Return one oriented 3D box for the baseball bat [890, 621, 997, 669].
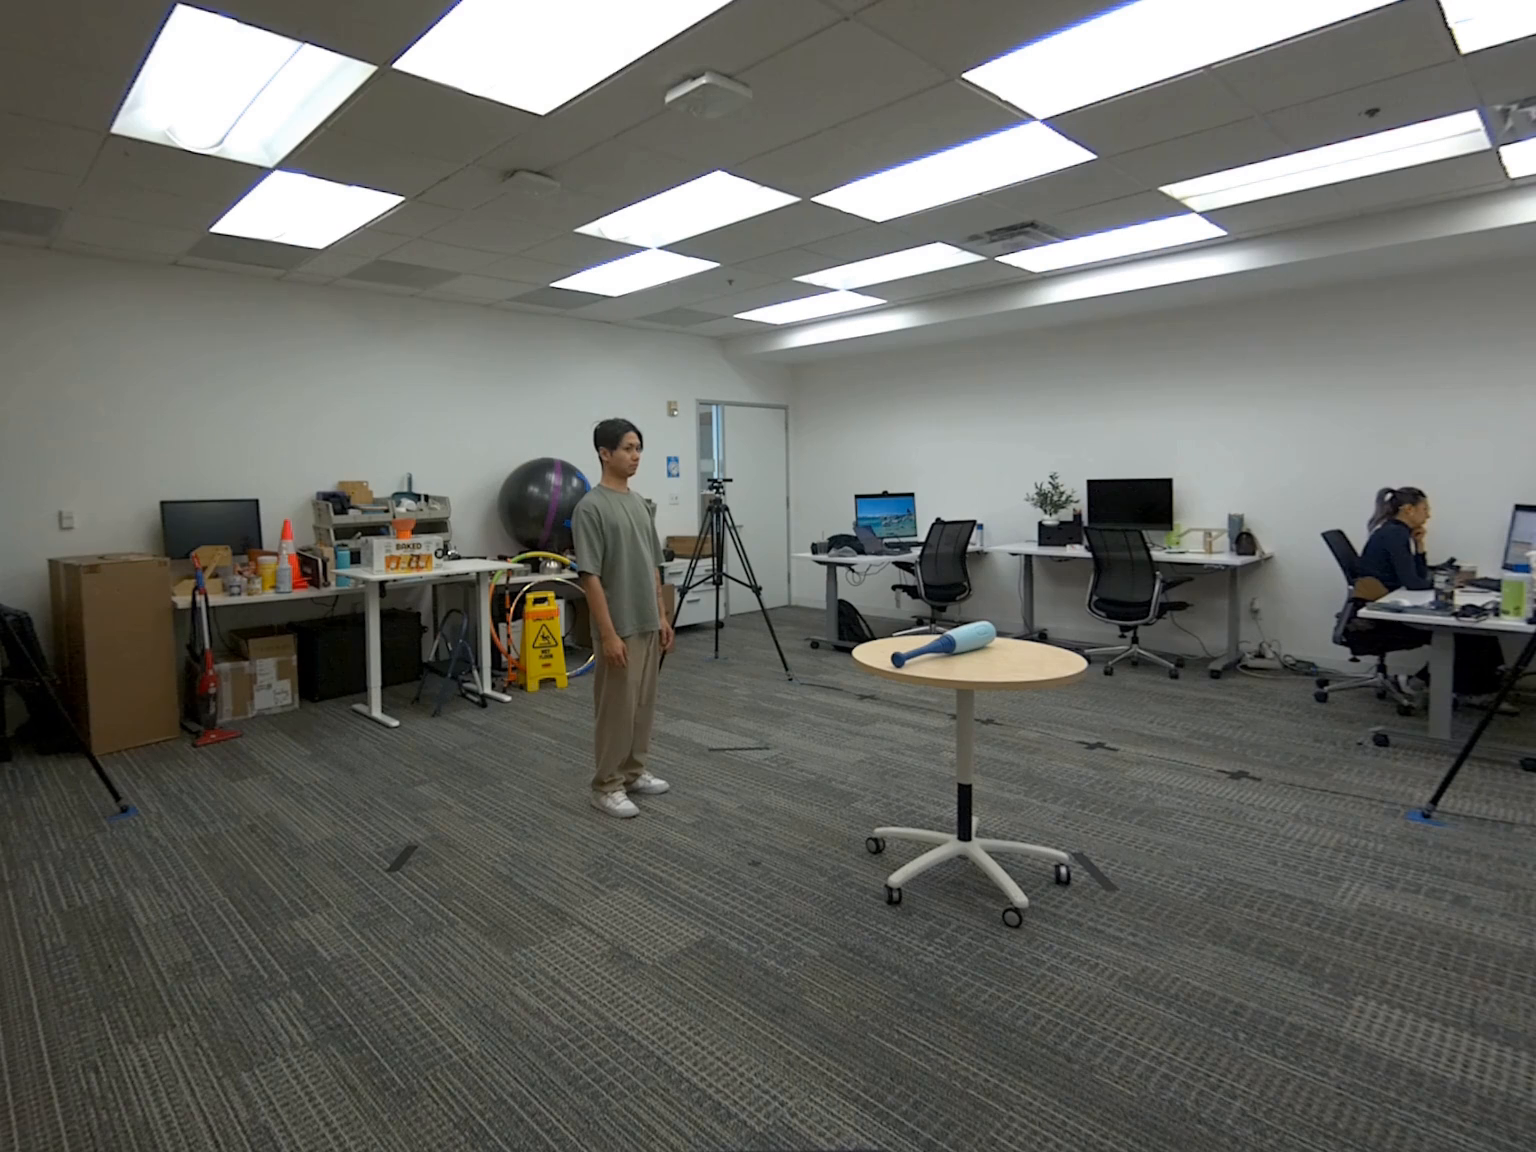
[{"bbox_3d":[0.599,0.234,2.901,0.529,0.088,0.092,-9,9,-43],"label":"baseball bat"}]
